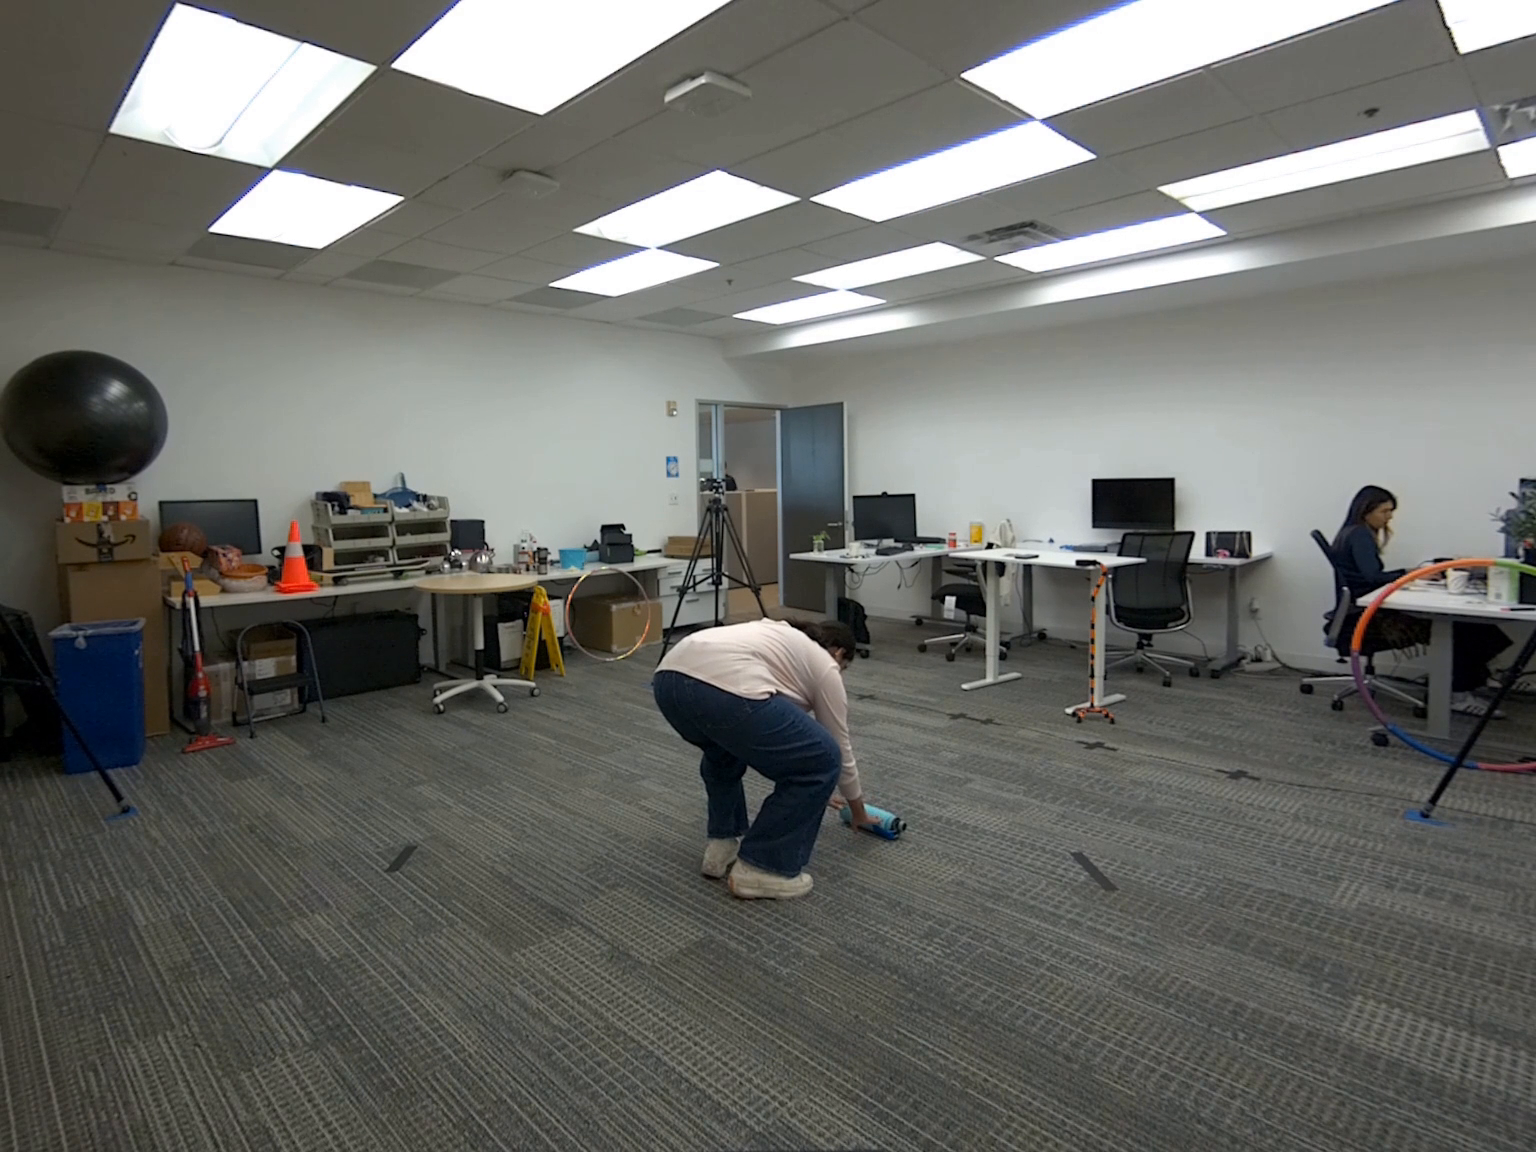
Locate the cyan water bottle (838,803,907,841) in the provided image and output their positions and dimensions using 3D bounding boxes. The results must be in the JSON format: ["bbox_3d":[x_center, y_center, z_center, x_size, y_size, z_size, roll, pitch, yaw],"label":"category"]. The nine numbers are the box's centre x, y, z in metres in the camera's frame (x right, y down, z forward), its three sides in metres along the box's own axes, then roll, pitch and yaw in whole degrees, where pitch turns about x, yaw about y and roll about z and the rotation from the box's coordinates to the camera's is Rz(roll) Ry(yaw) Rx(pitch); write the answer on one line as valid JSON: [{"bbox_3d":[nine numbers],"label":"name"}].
[{"bbox_3d":[0.413,0.958,3.381,0.090,0.092,0.292,-5,9,-42],"label":"cyan water bottle"}]
